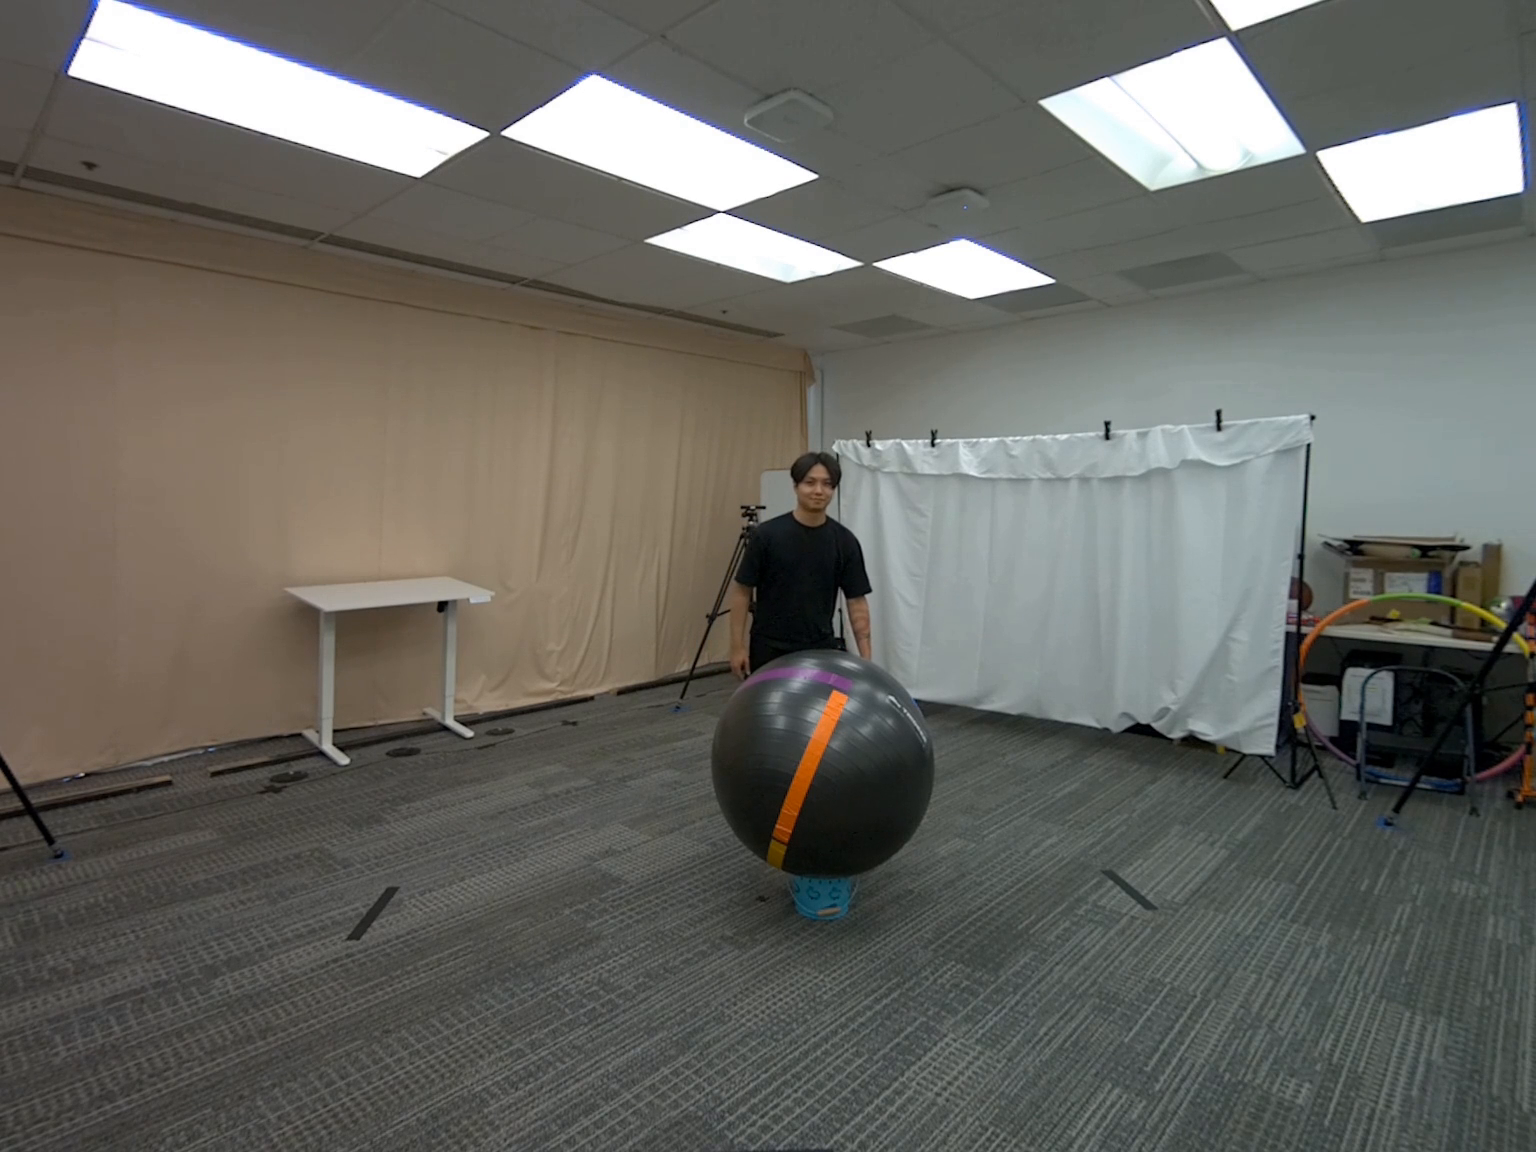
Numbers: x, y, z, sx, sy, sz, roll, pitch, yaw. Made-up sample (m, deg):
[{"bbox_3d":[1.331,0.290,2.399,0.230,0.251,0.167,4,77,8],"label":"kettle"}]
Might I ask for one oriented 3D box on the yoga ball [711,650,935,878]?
[{"bbox_3d":[0.184,0.637,2.891,0.757,0.756,0.760,0,4,-2],"label":"yoga ball"}]
